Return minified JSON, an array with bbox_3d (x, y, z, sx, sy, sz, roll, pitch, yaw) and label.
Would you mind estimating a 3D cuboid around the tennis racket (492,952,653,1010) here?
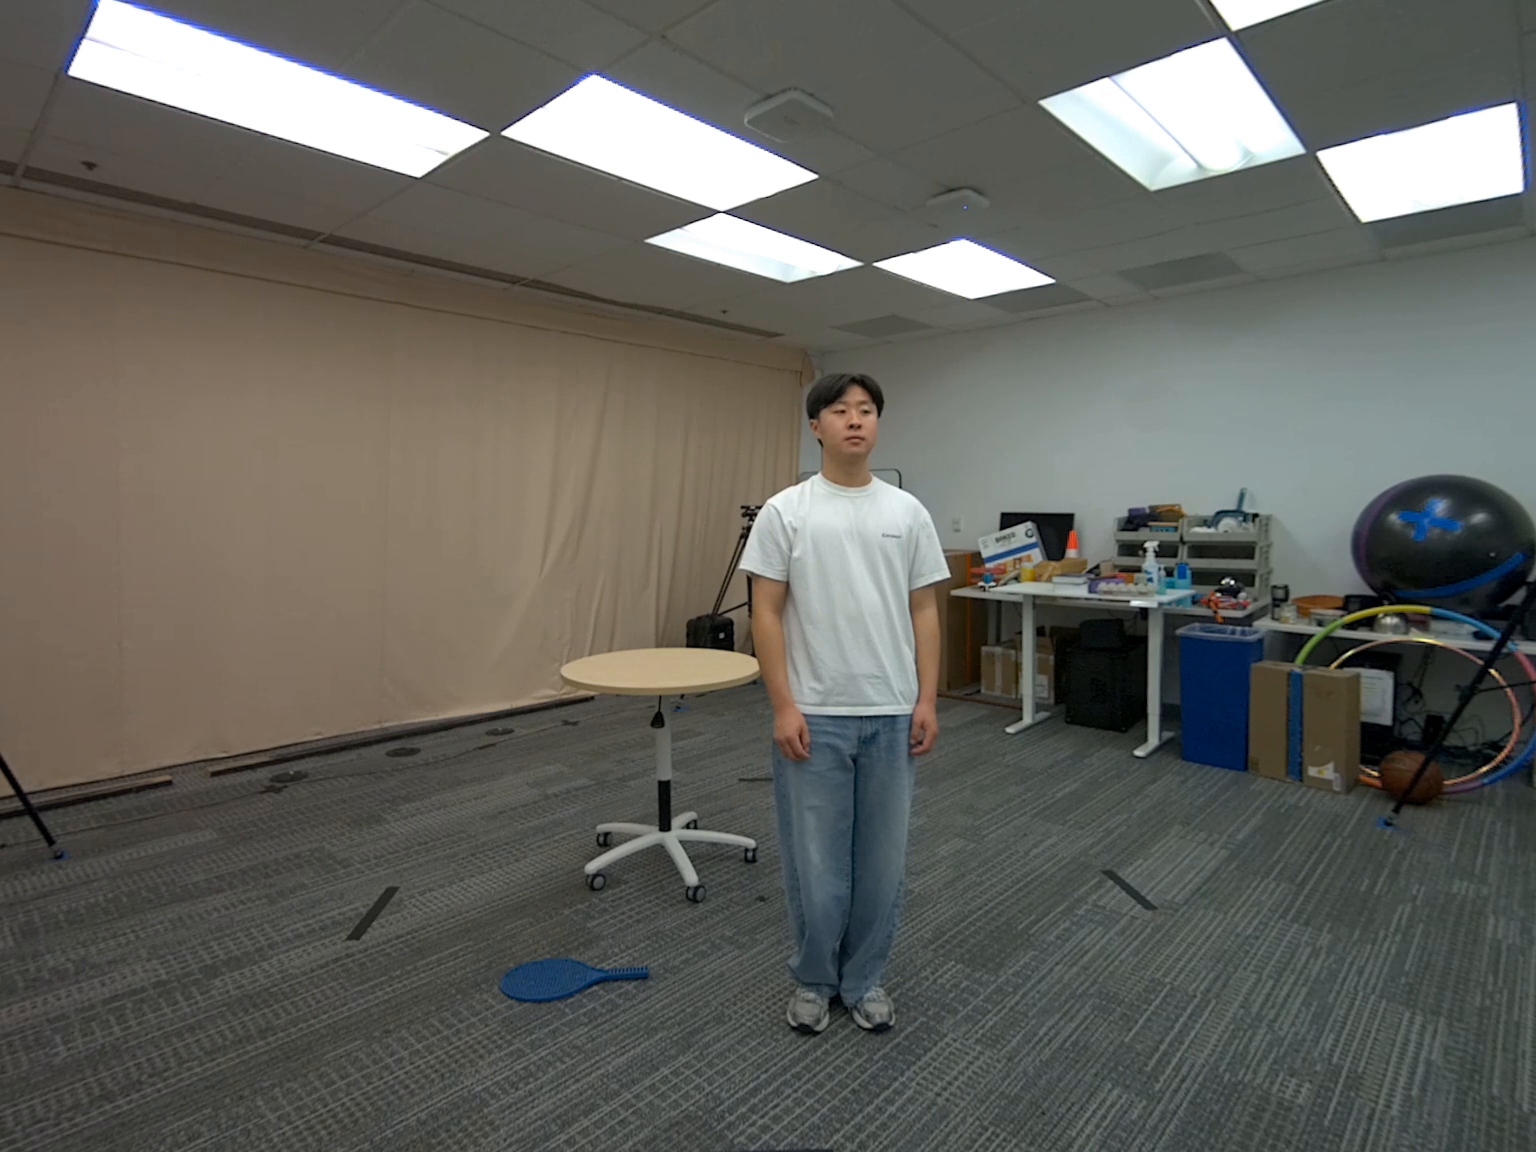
[{"bbox_3d":[-0.562,1.176,2.469,0.432,0.032,0.214,-2,4,-2],"label":"tennis racket"}]
